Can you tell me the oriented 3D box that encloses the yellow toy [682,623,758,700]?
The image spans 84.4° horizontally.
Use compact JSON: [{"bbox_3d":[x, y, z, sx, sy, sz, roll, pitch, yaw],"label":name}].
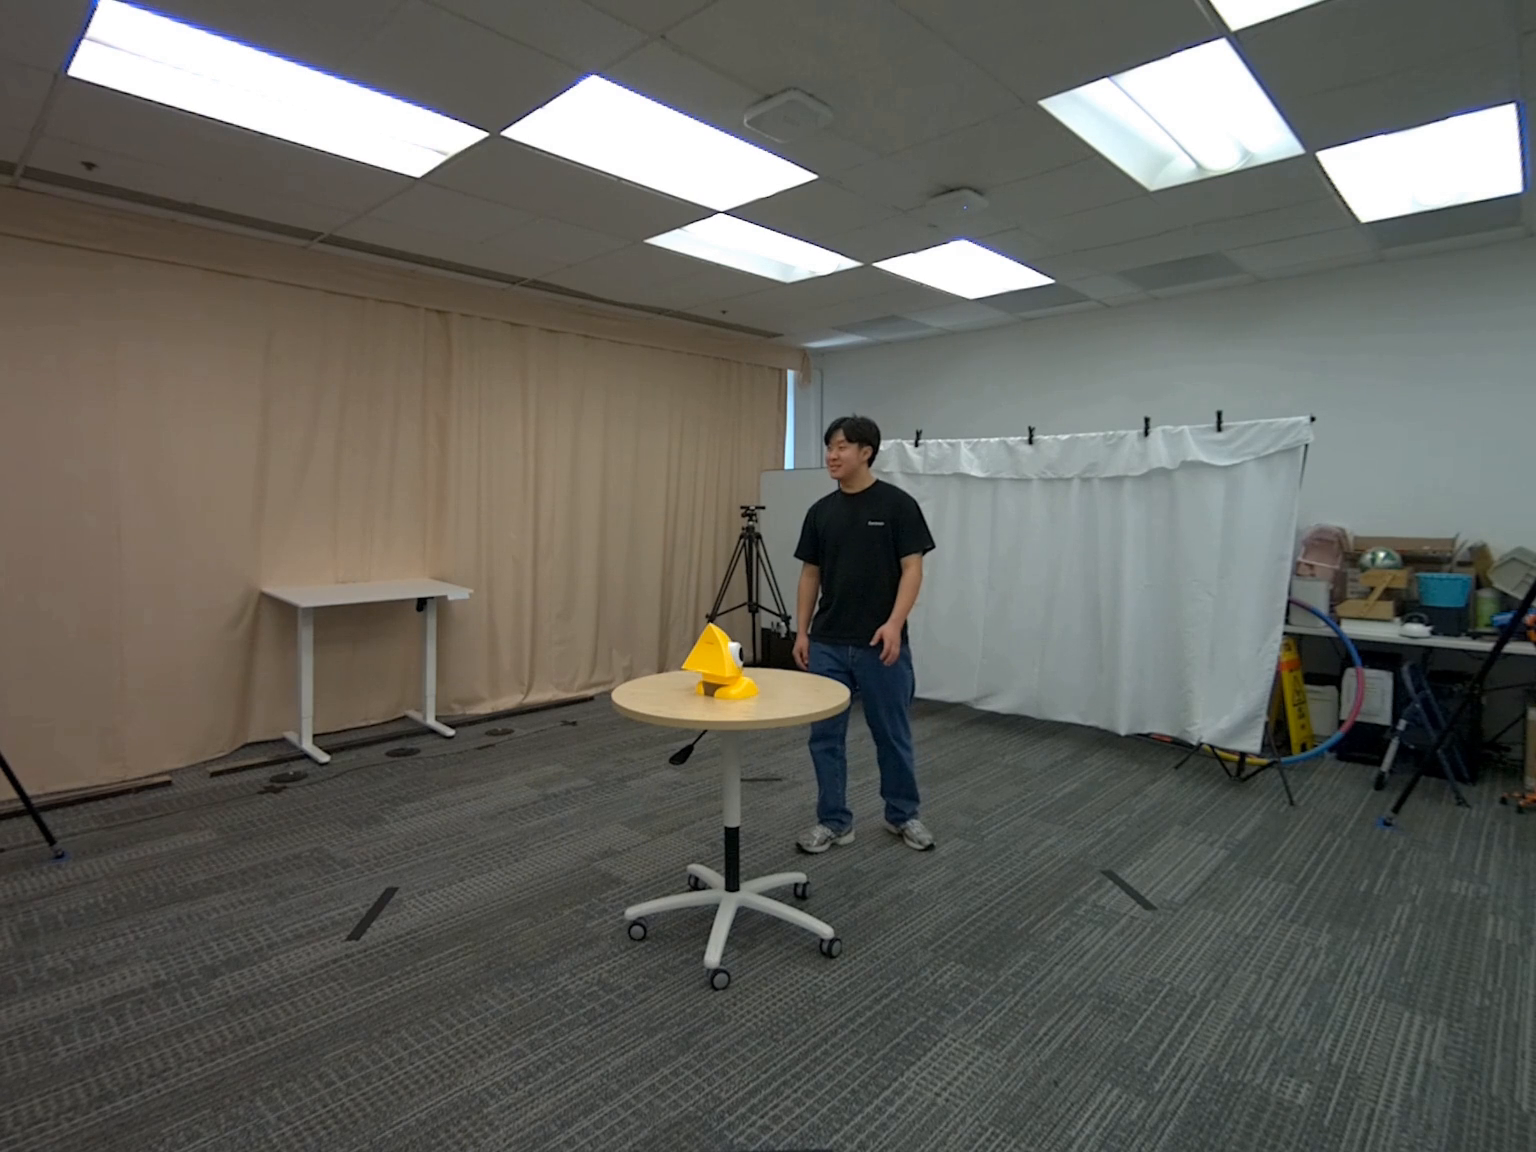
[{"bbox_3d":[-0.138,0.261,2.681,0.211,0.230,0.187,3,5,43],"label":"yellow toy"}]
